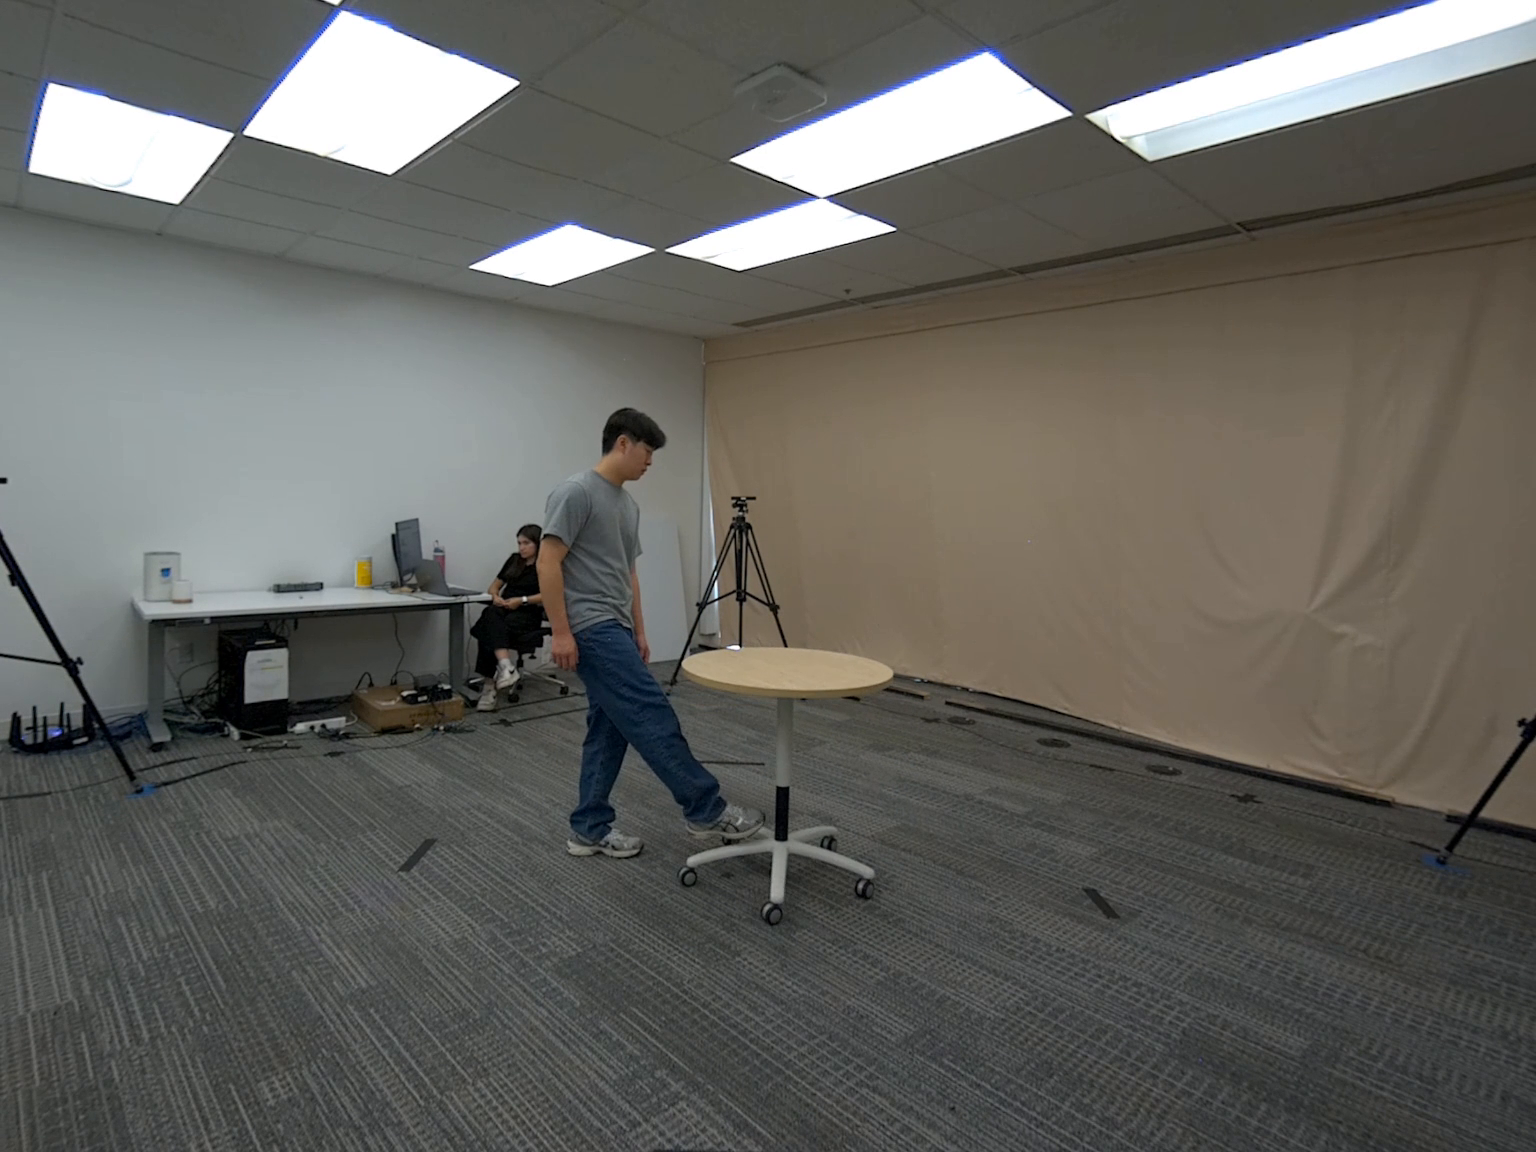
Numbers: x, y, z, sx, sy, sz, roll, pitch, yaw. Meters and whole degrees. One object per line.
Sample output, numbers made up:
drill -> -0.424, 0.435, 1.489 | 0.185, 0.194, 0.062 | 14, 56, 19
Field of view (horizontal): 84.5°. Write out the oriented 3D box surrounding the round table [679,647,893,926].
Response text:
round table -> 0.045, 0.722, 3.075 | 0.763, 0.792, 0.766 | 1, 4, -1
